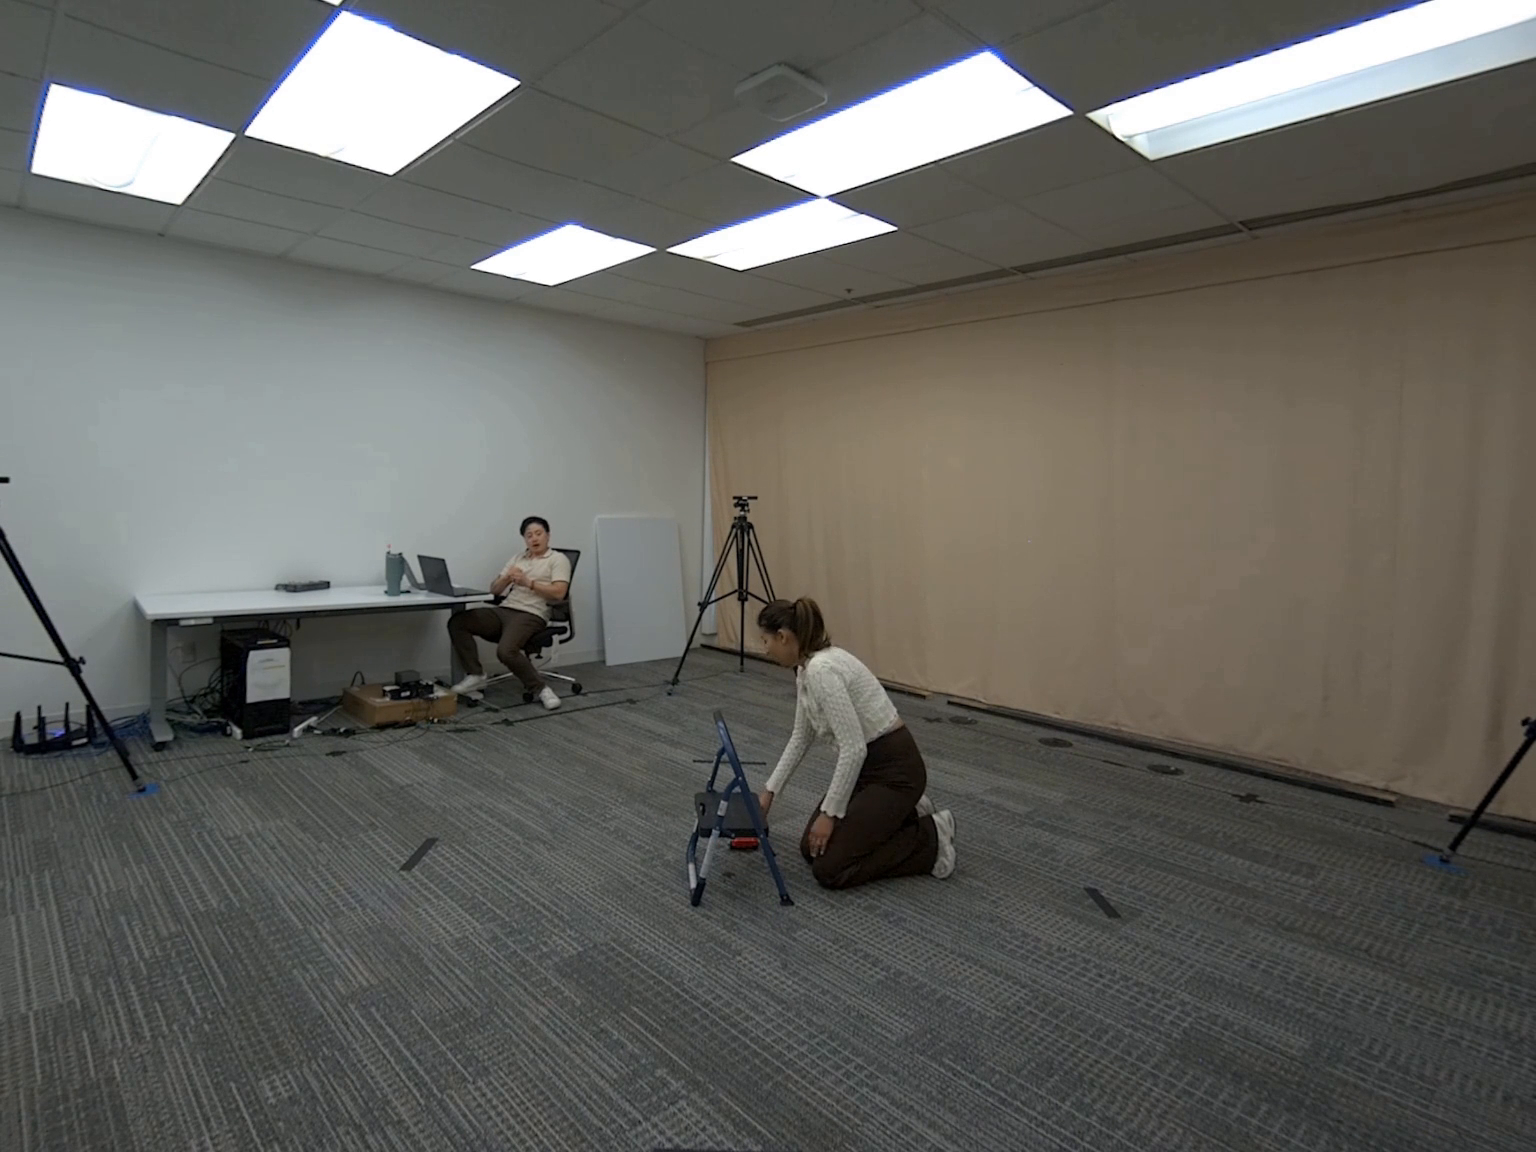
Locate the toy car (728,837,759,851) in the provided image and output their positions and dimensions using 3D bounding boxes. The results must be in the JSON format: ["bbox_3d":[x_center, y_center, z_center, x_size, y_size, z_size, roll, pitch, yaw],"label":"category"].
[{"bbox_3d":[-0.108,1.037,3.433,0.130,0.082,0.258,0,14,-6],"label":"toy car"}]
